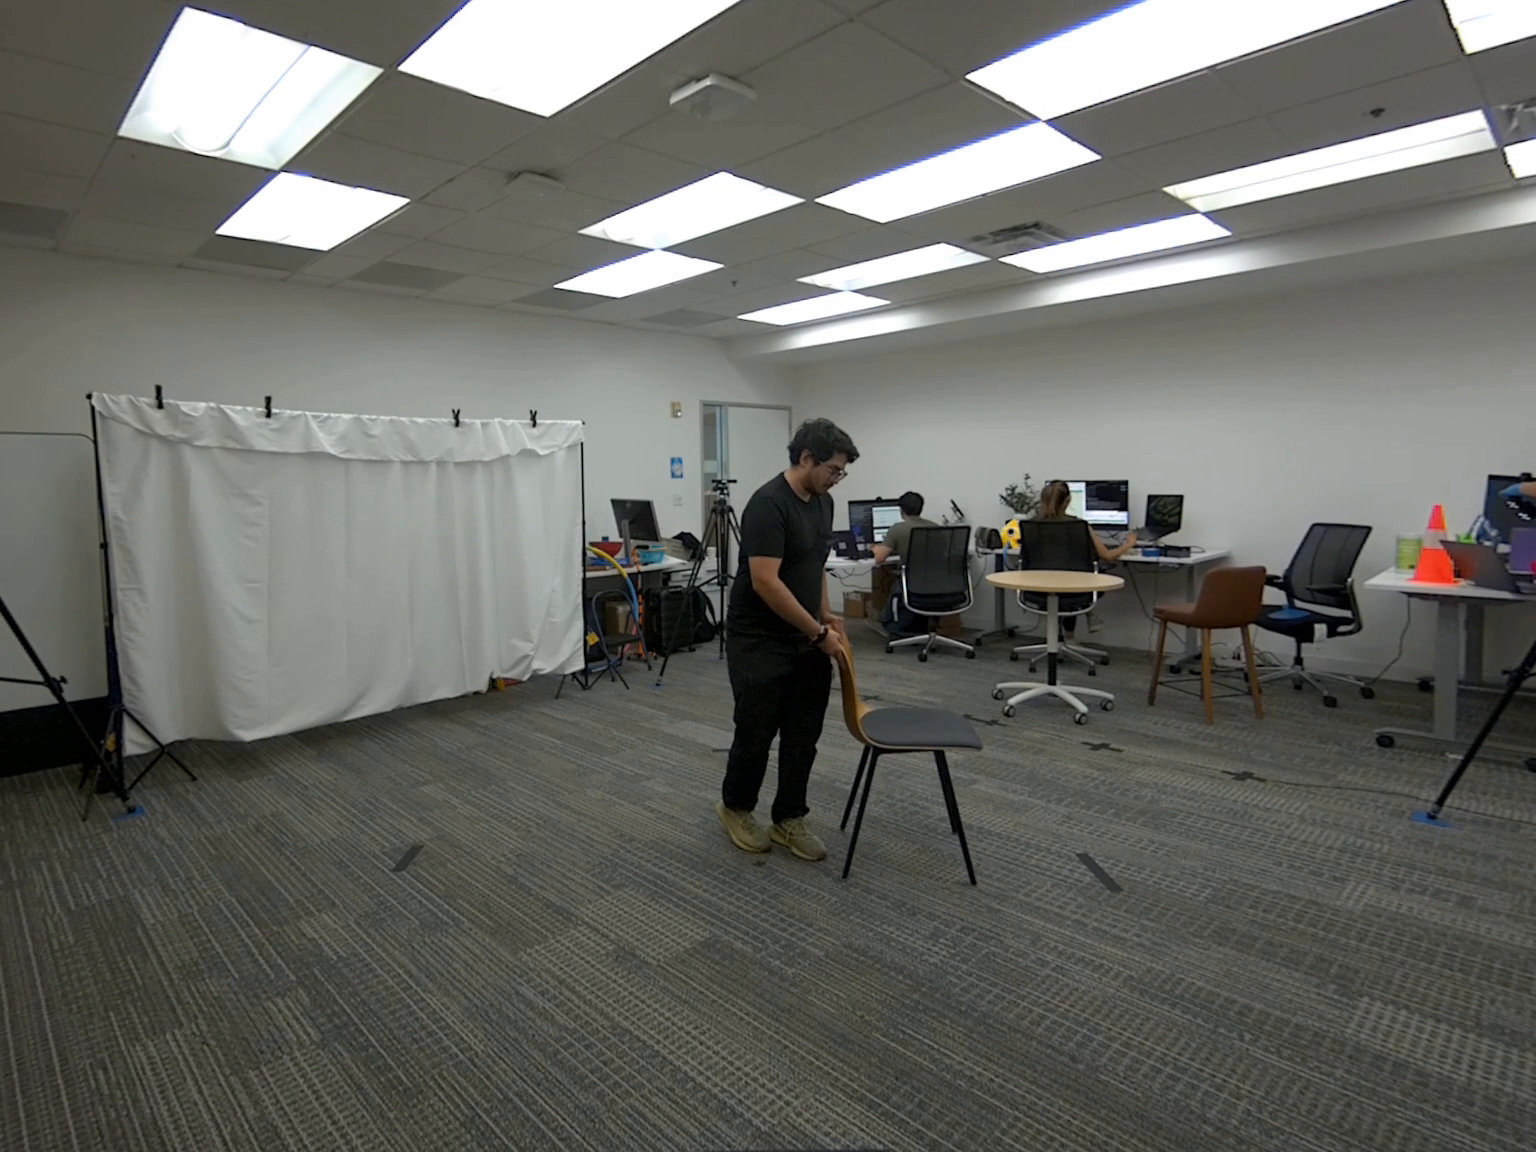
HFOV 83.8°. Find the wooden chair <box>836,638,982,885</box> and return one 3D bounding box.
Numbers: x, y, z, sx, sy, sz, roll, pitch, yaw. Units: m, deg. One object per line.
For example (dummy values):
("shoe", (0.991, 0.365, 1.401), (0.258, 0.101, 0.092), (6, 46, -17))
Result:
("wooden chair", (0.500, 0.599, 3.139), (0.526, 0.875, 0.476), (-5, 3, 6))
